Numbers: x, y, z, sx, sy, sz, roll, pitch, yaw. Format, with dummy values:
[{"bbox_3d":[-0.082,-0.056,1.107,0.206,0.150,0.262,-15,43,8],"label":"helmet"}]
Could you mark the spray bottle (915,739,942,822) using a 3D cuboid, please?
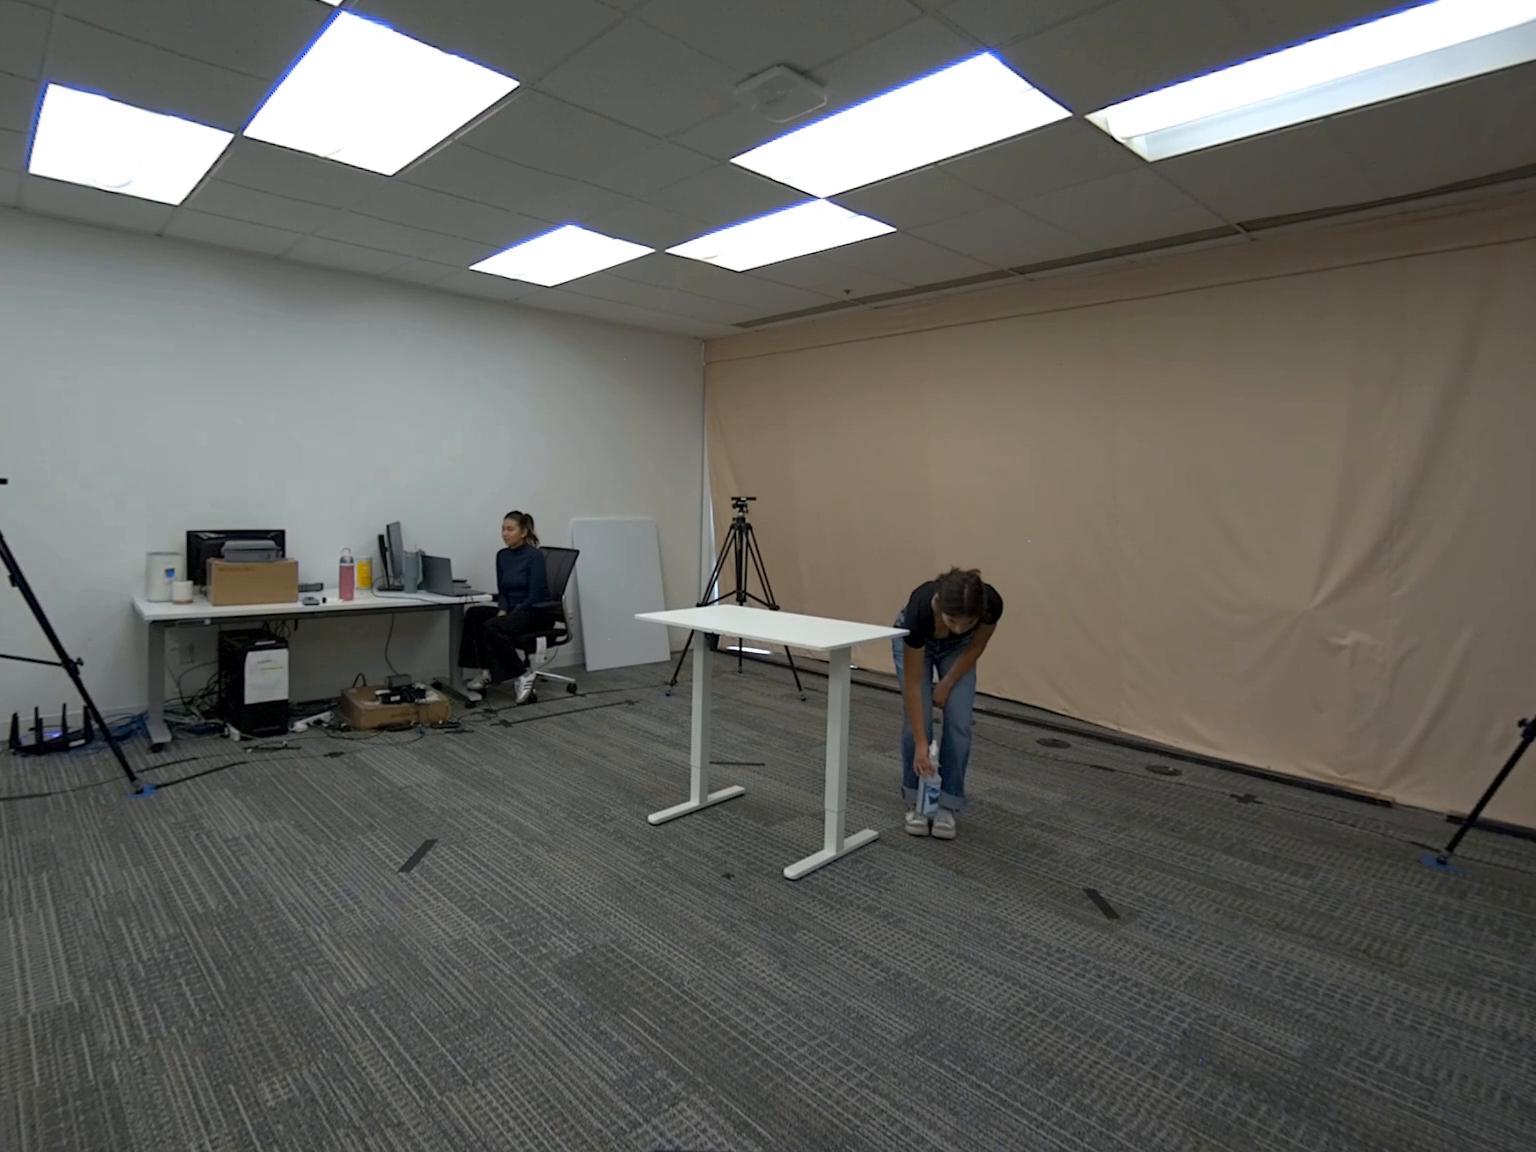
[{"bbox_3d":[0.651,0.816,3.385,0.089,0.296,0.088,9,7,34],"label":"spray bottle"}]
